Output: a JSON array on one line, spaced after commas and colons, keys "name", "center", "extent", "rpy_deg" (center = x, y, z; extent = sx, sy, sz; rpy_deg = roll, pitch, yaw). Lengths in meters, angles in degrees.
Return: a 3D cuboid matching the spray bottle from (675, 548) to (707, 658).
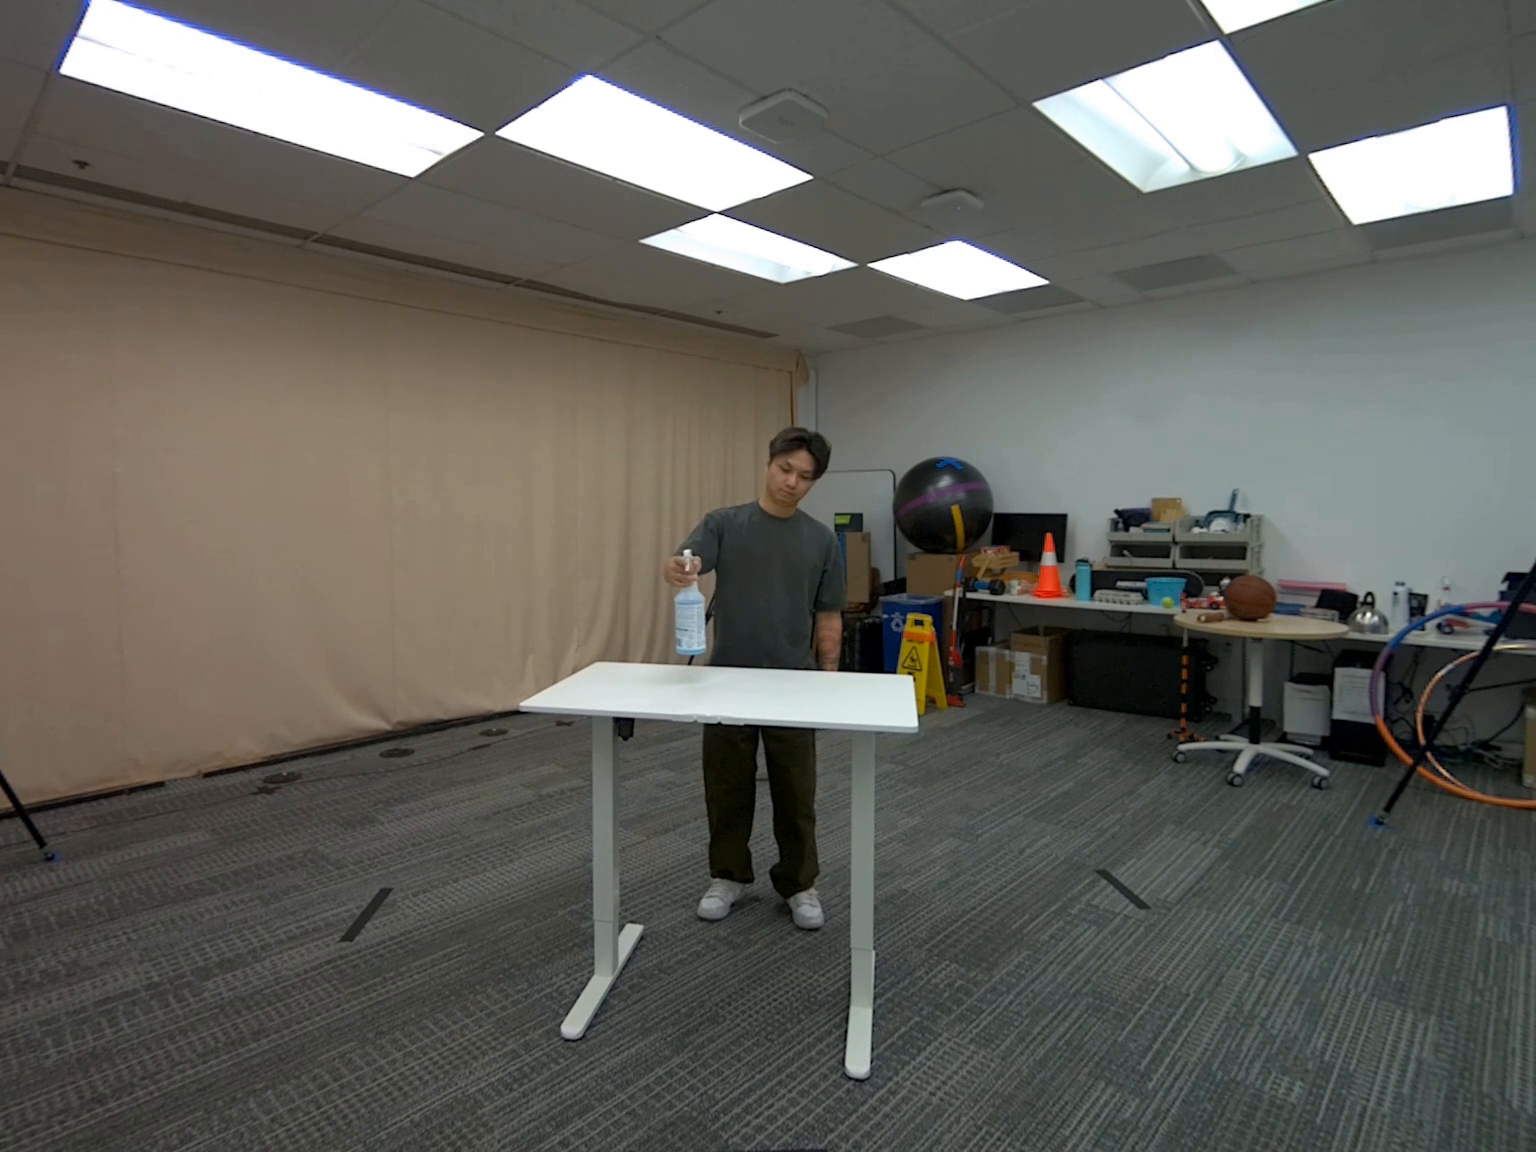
[{"name": "spray bottle", "center": [-0.223, 0.072, 2.394], "extent": [0.089, 0.296, 0.088], "rpy_deg": [0, 6, 29]}]
